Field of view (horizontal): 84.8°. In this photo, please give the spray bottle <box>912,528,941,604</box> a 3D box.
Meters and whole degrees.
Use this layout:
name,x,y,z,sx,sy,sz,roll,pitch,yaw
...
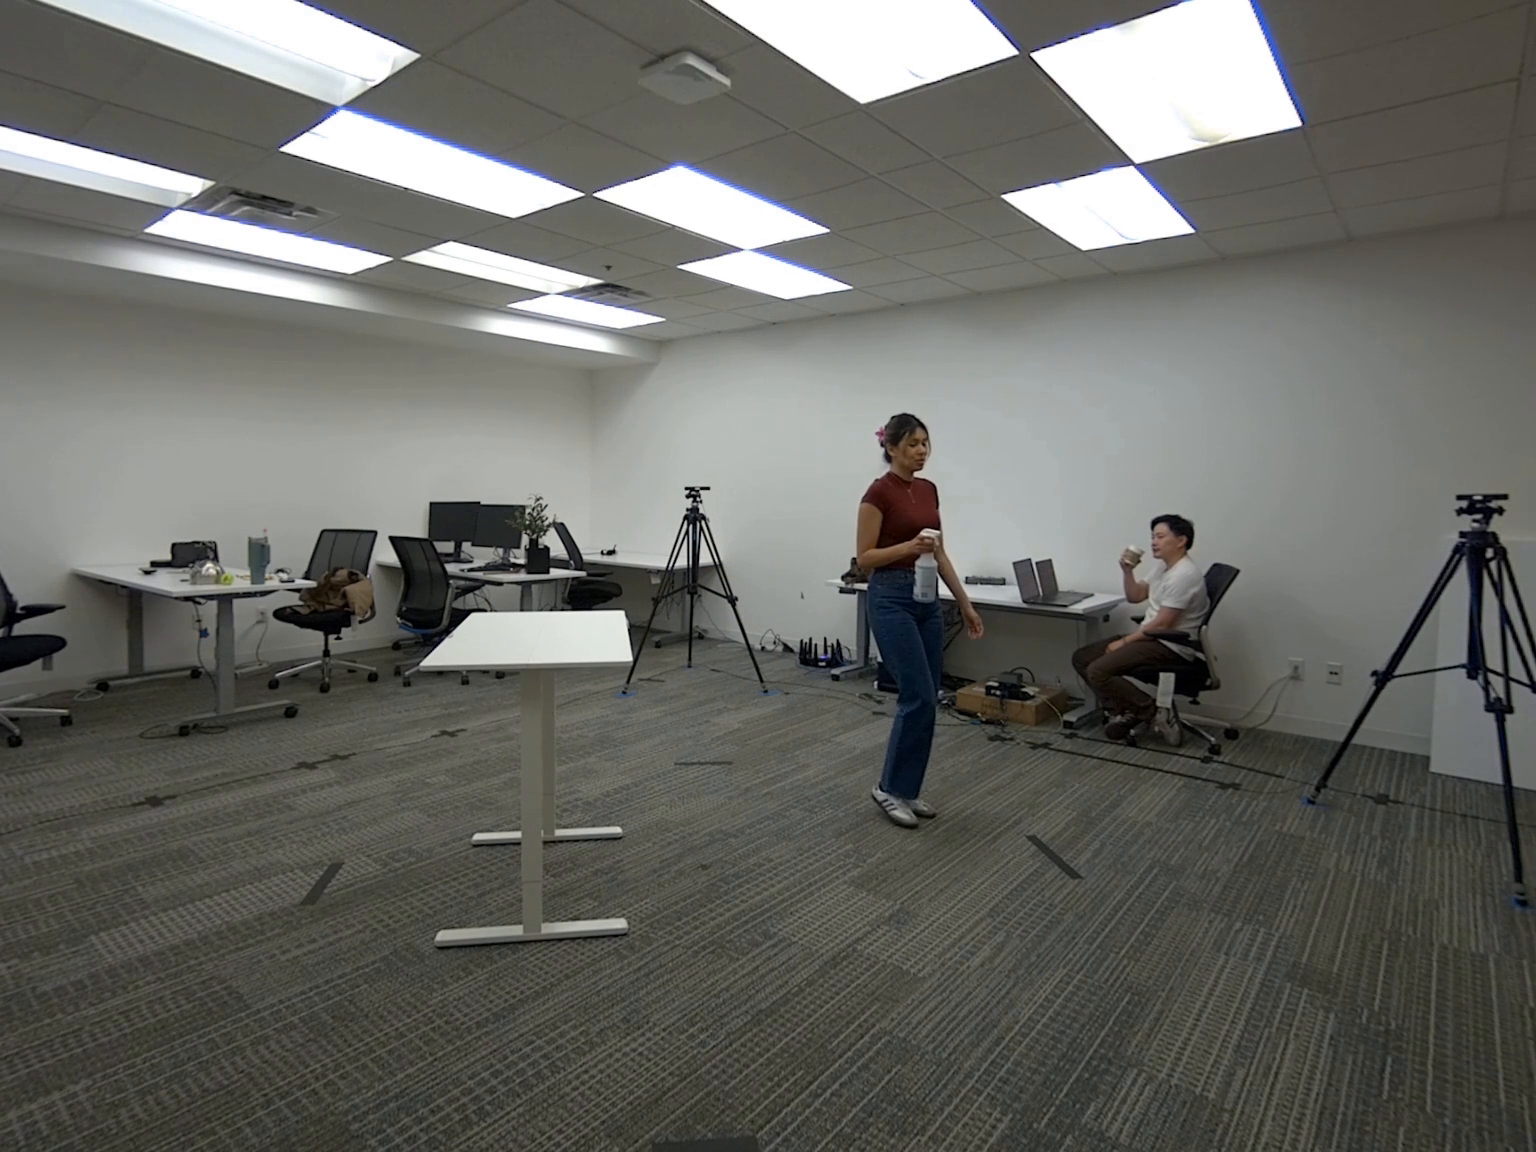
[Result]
name,x,y,z,sx,sy,sz,roll,pitch,yaw
spray bottle,0.630,-0.046,3.401,0.086,0.293,0.093,-3,18,-16
